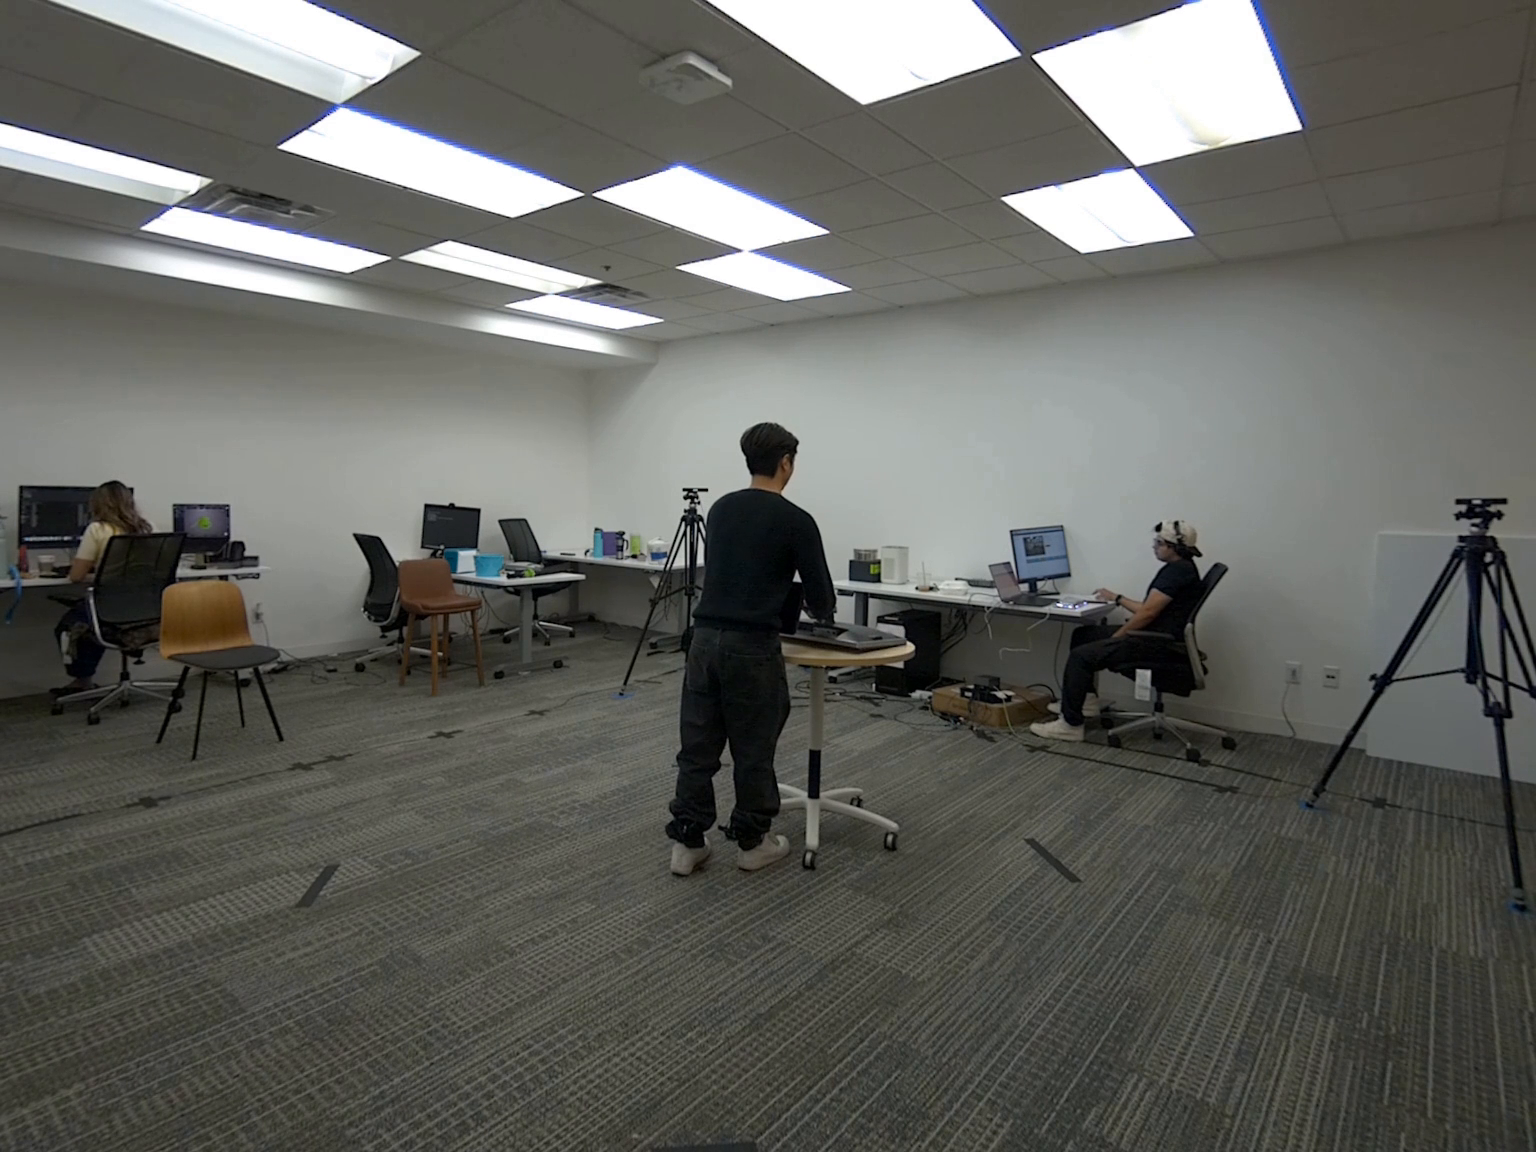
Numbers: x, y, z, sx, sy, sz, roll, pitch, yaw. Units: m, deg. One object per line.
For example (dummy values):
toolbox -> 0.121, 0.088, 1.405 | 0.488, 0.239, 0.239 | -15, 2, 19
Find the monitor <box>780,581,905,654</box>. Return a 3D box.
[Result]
monitor -> 0.176, 0.178, 3.421 | 0.558, 0.188, 0.502 | 7, -10, 42
